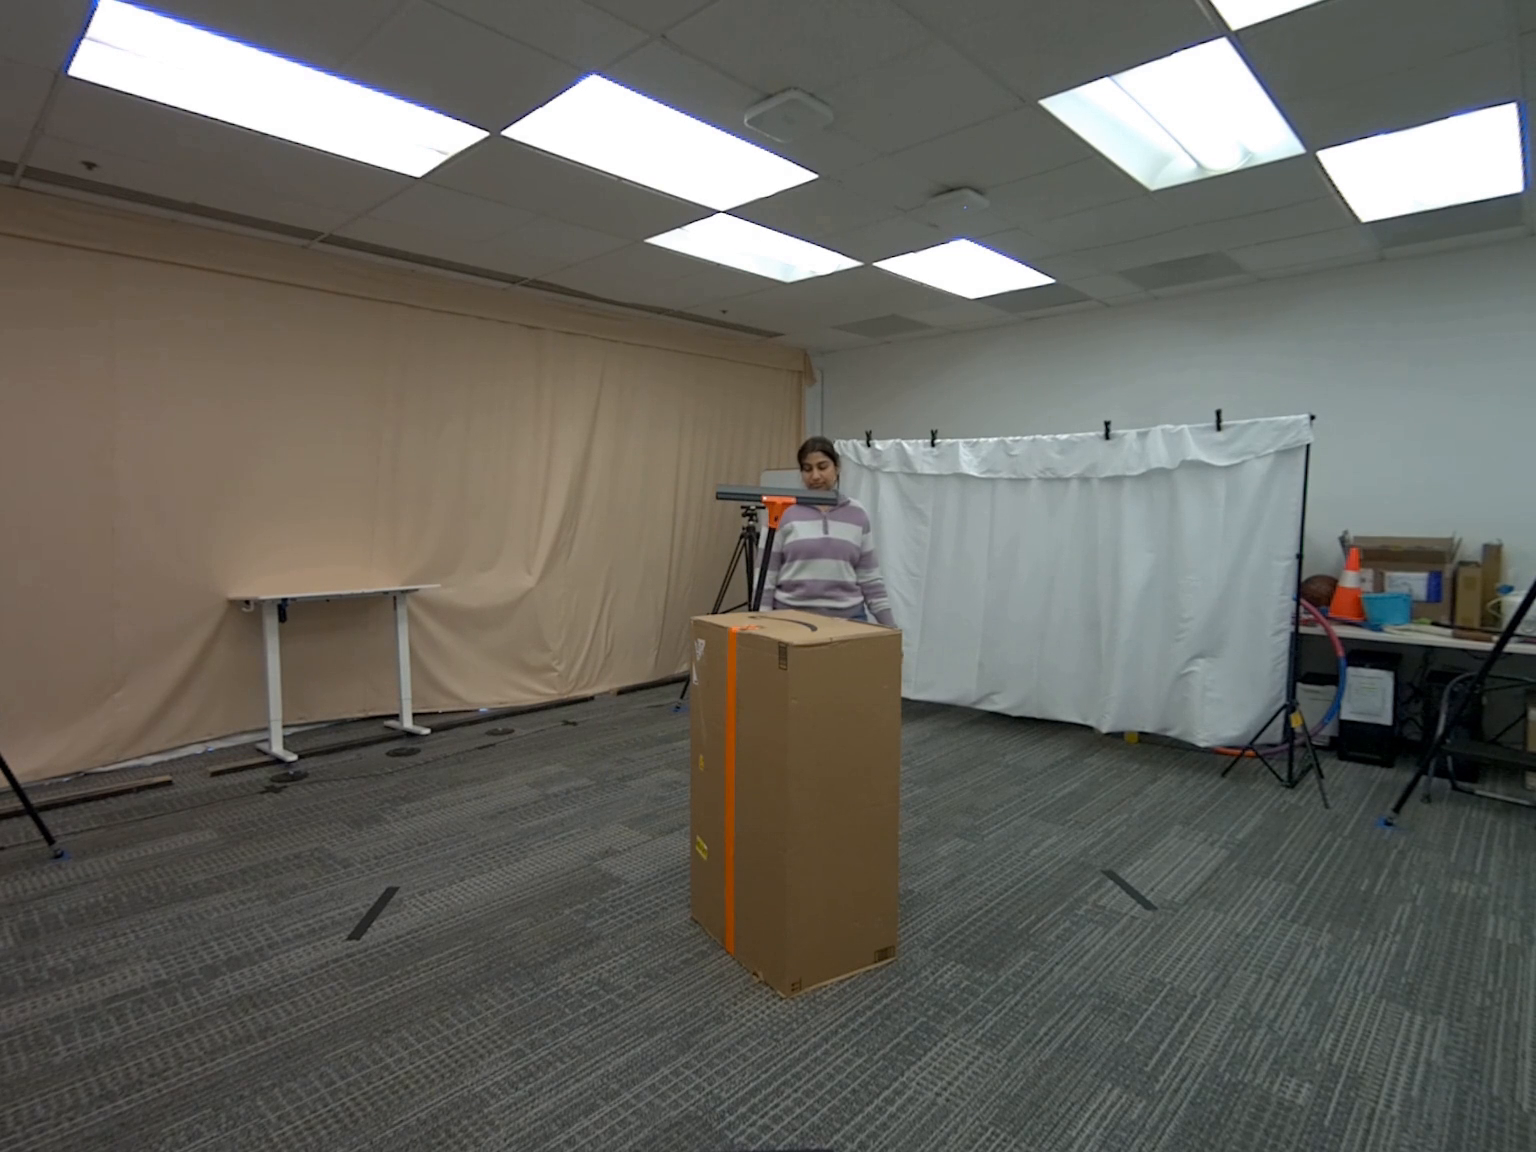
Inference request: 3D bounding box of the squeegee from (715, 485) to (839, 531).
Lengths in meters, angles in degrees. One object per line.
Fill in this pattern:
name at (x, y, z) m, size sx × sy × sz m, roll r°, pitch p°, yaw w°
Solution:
squeegee at (-0.097, 0.412, 3.072) m, size 0.428 × 1.525 × 0.054 m, roll 3°, pitch 23°, yaw -22°
